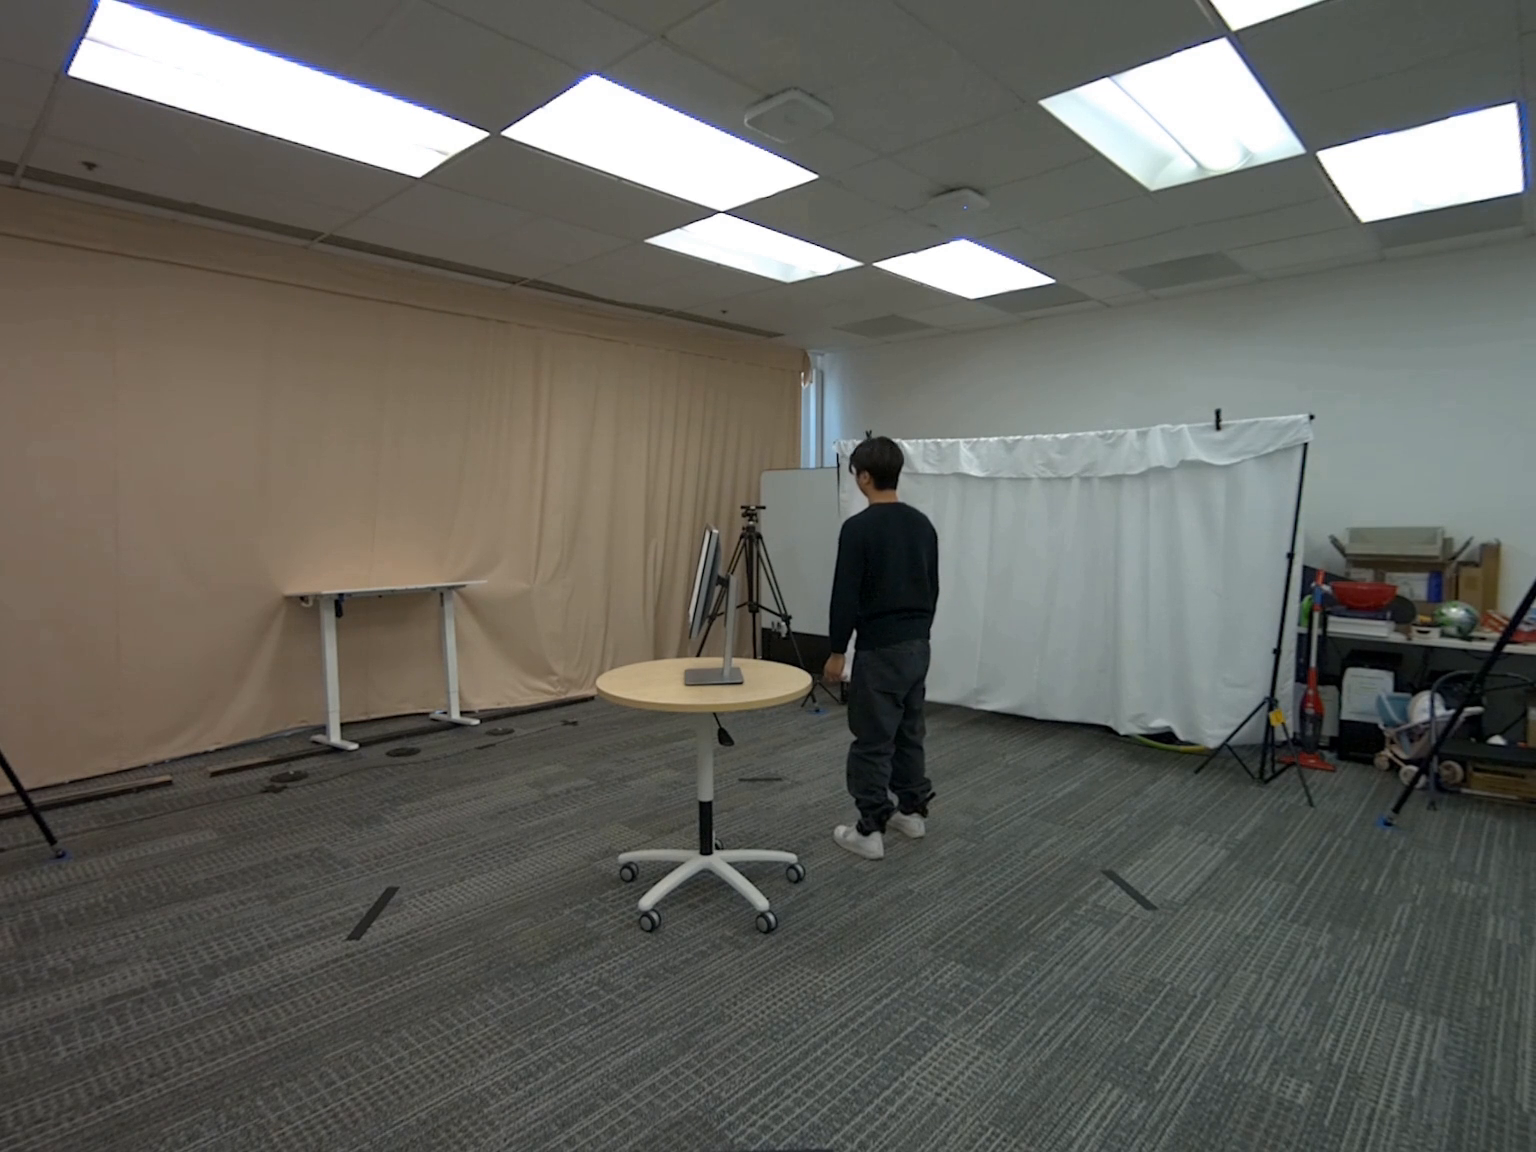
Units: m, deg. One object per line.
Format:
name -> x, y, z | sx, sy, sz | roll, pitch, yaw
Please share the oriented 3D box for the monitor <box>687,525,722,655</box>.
monitor -> -0.190, 0.105, 2.987 | 0.186, 0.522, 0.543 | 0, 3, -7
